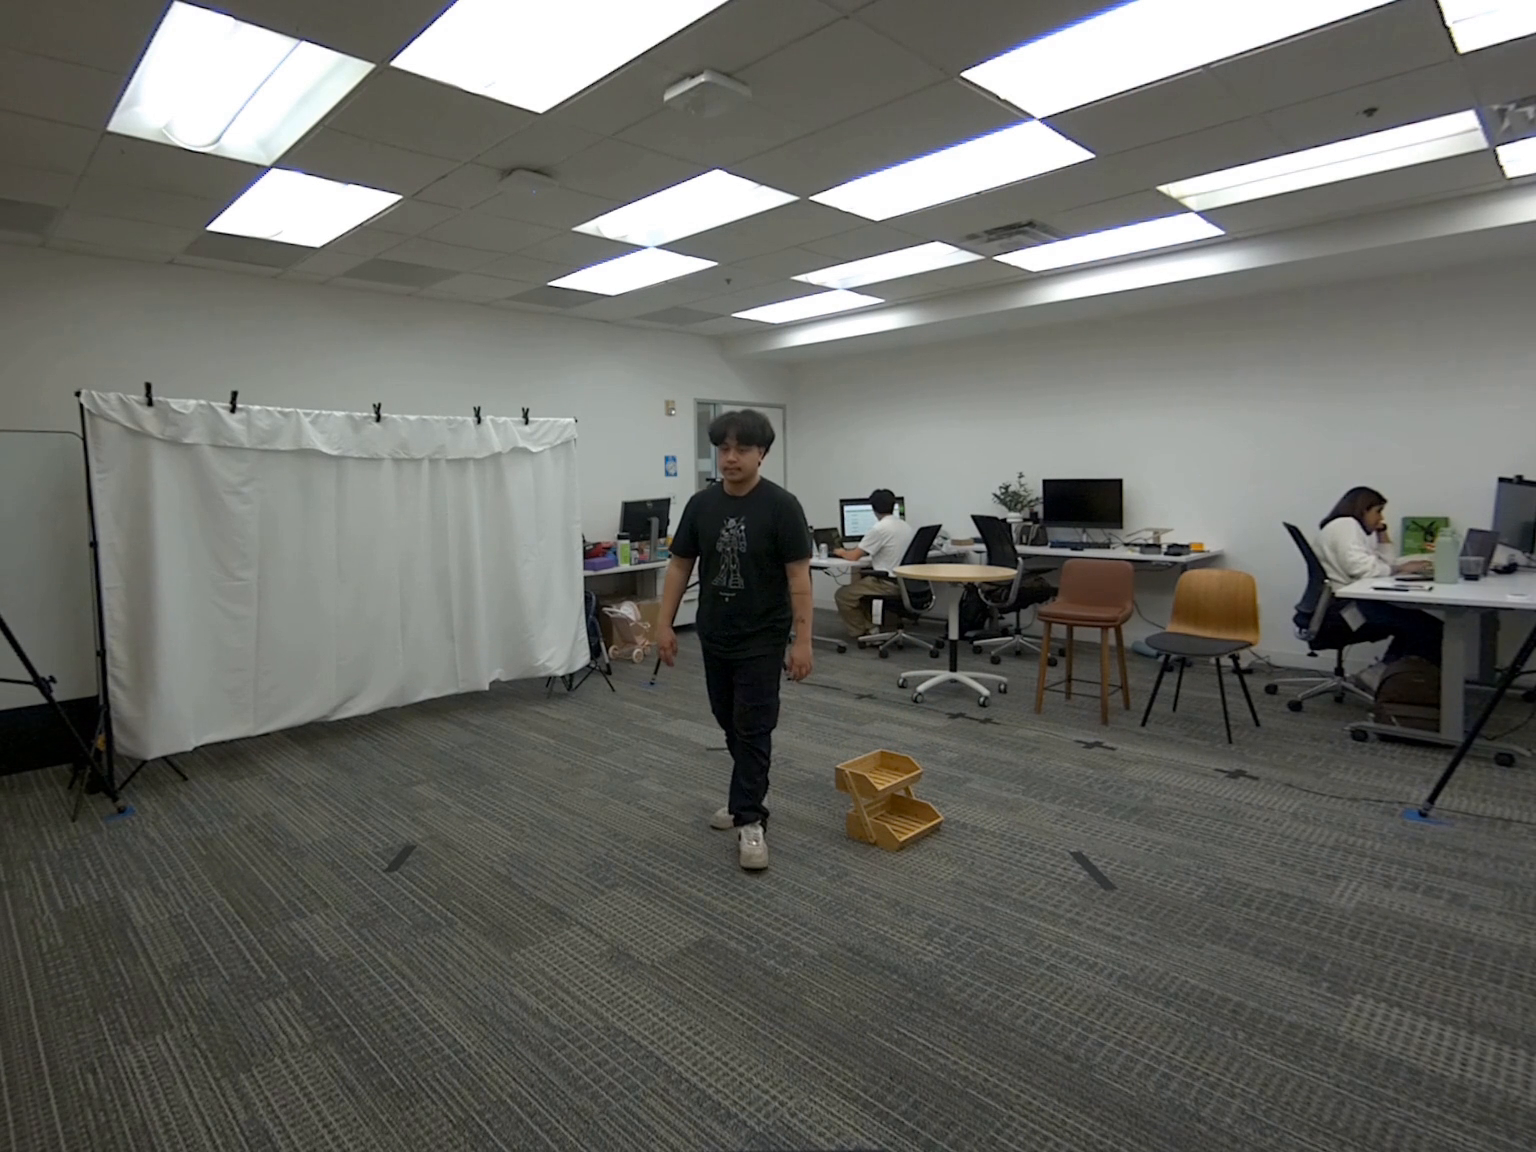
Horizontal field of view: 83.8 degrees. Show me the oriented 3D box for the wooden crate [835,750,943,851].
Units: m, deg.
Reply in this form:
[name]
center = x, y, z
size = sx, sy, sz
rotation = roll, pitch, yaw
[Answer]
[wooden crate]
center = 0.475, 0.864, 3.361
size = 0.311, 0.272, 0.316
rotation = 3, 6, 45
